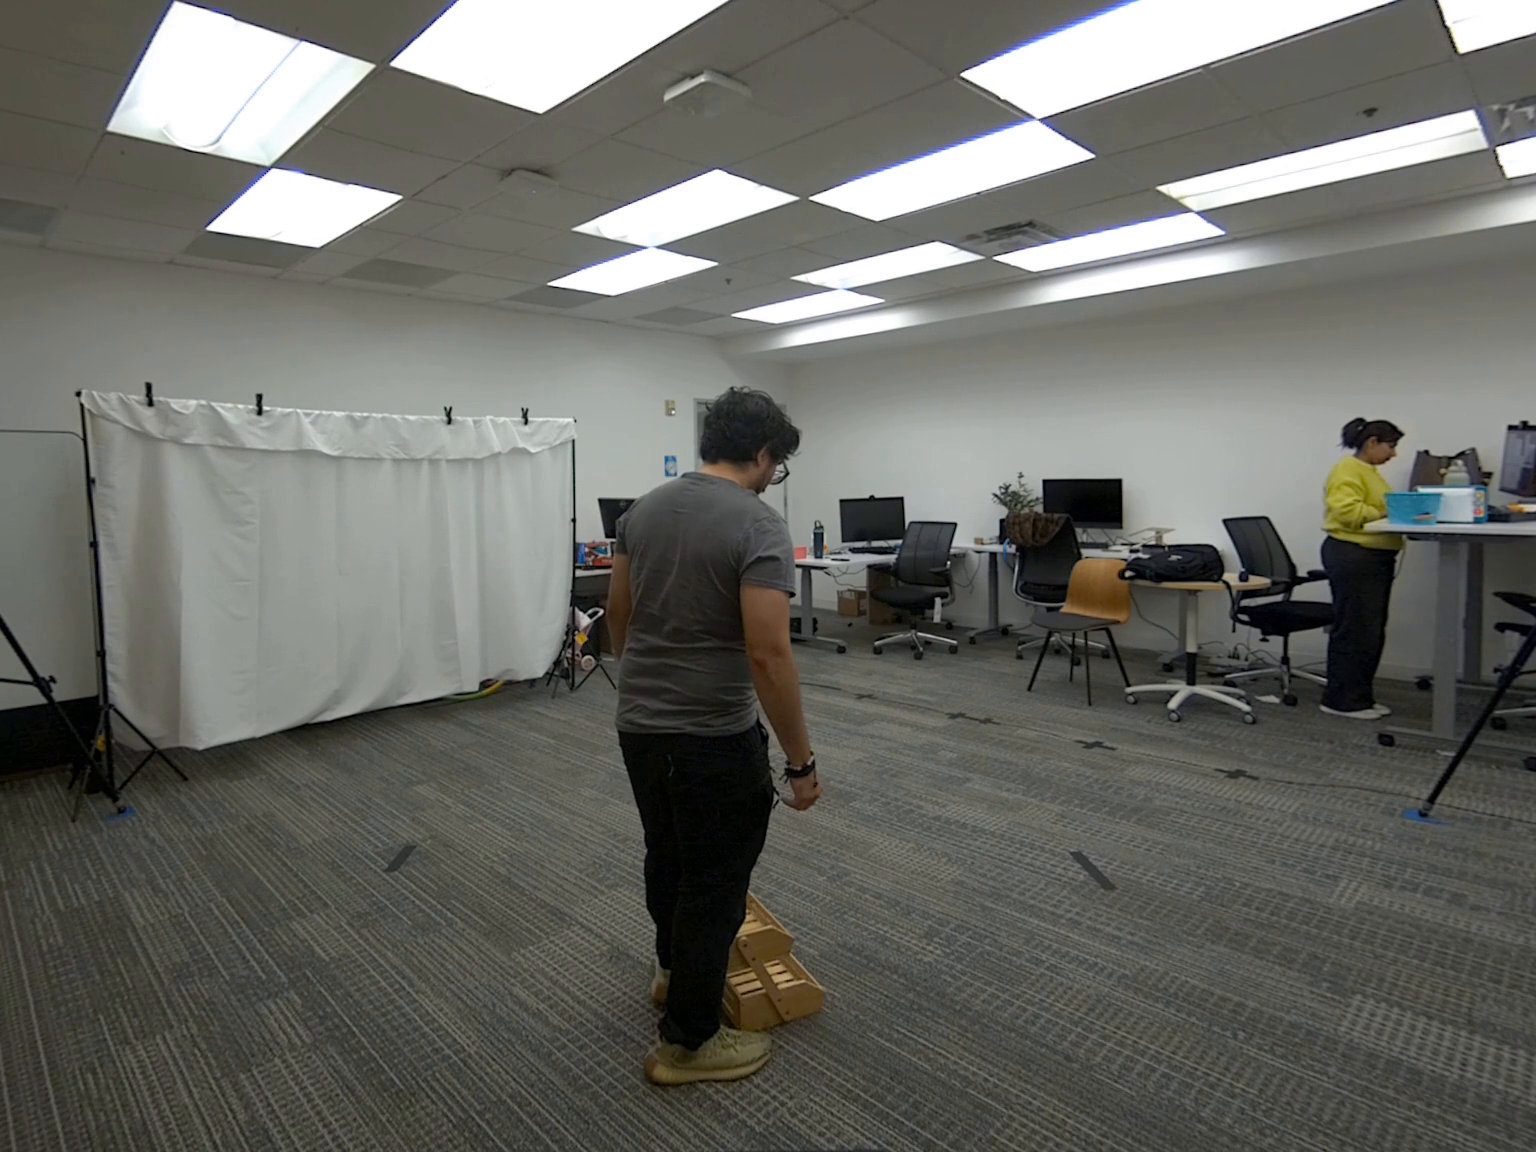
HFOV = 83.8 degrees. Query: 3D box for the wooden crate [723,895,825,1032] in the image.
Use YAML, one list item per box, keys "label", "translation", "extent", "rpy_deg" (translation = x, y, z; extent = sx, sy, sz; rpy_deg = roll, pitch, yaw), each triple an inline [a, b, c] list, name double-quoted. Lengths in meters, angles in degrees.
- label: "wooden crate"
  translation: [-0.040, 1.003, 2.315]
  extent: [0.296, 0.272, 0.332]
  rpy_deg: [-5, 6, -24]
